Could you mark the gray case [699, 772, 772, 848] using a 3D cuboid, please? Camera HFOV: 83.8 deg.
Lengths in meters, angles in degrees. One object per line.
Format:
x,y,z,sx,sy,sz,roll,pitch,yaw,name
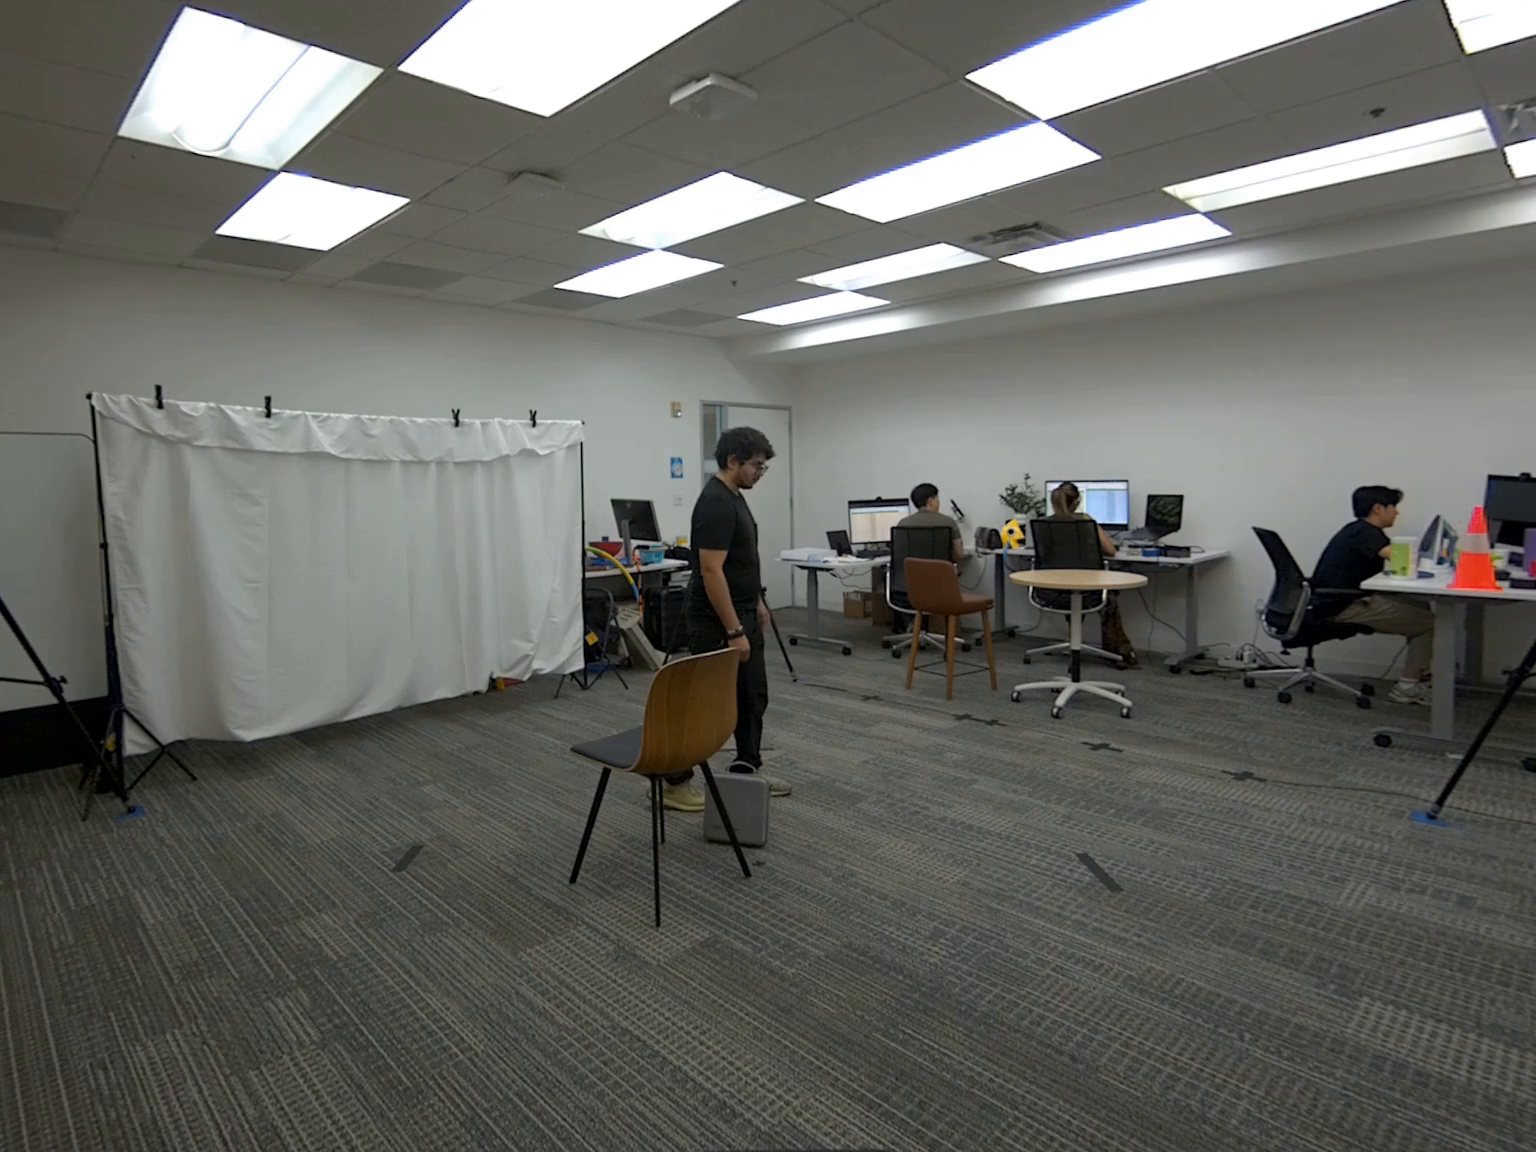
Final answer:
-0.122,0.894,3.309,0.261,0.261,0.102,2,-4,16,gray case
